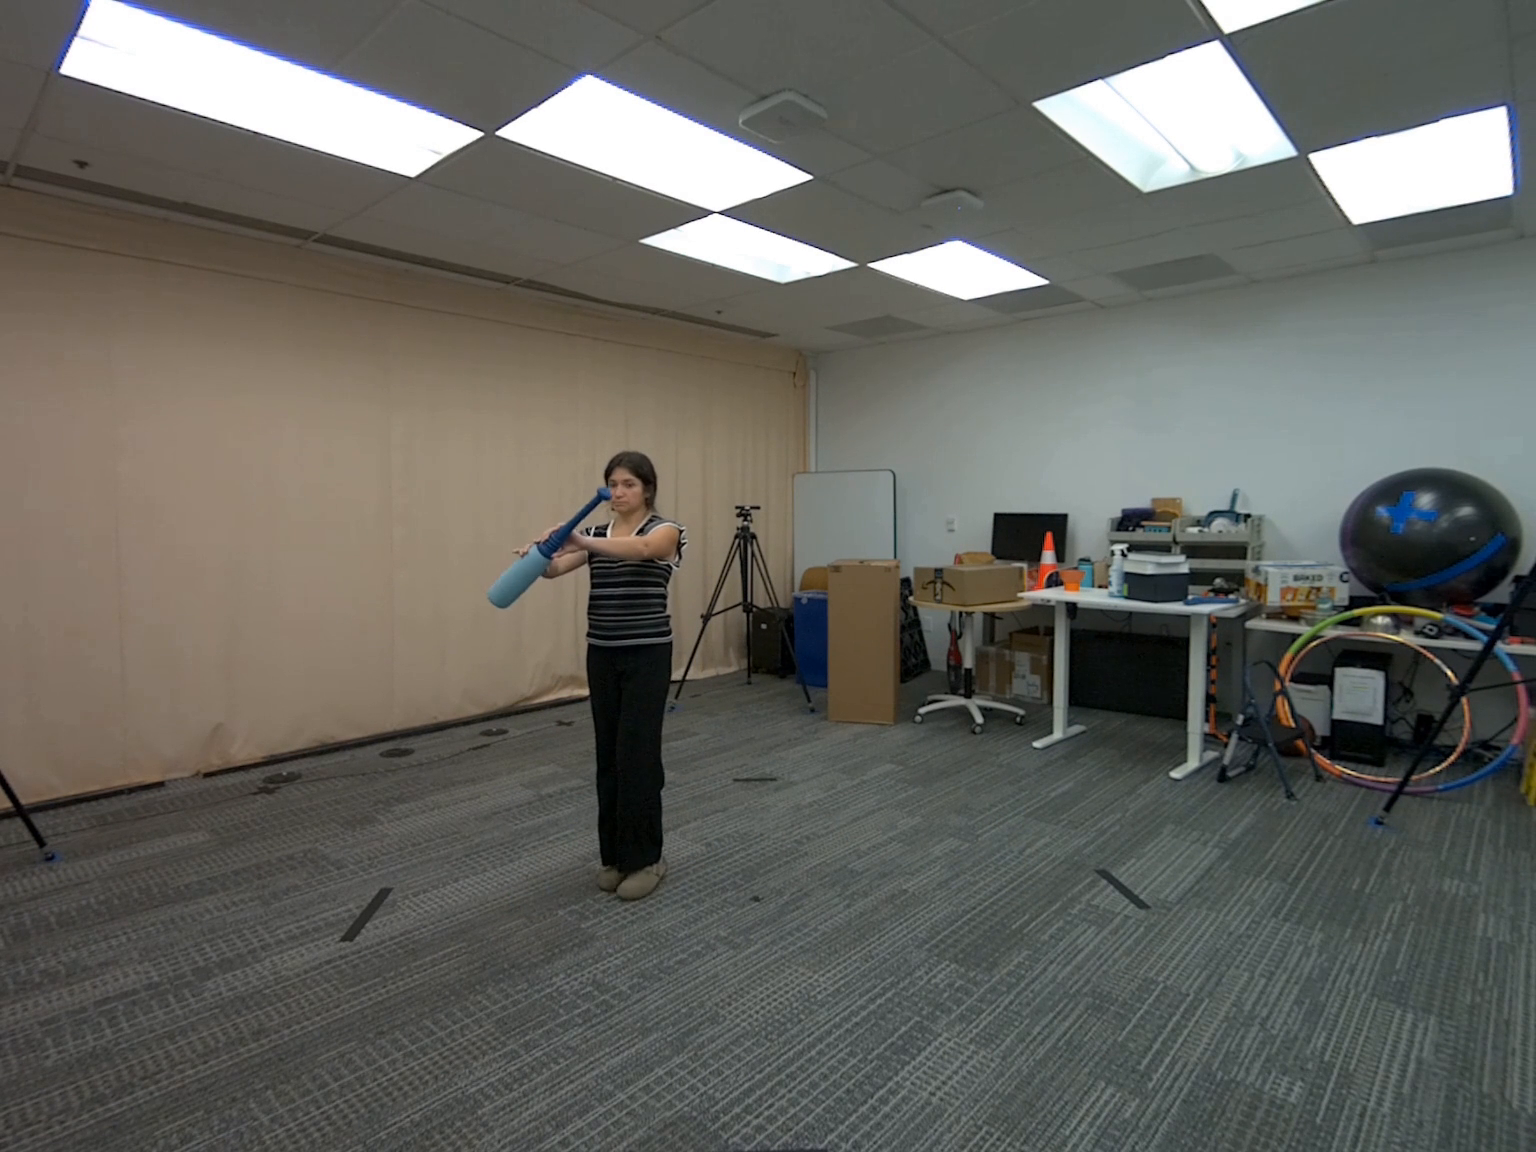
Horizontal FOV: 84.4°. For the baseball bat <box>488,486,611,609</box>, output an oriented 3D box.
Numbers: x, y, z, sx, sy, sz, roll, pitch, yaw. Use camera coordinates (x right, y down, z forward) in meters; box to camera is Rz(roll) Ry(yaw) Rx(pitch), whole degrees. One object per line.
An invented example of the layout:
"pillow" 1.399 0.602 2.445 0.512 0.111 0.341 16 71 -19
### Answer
"baseball bat" -0.671 -0.086 2.588 0.547 0.090 0.087 -39 -11 20
